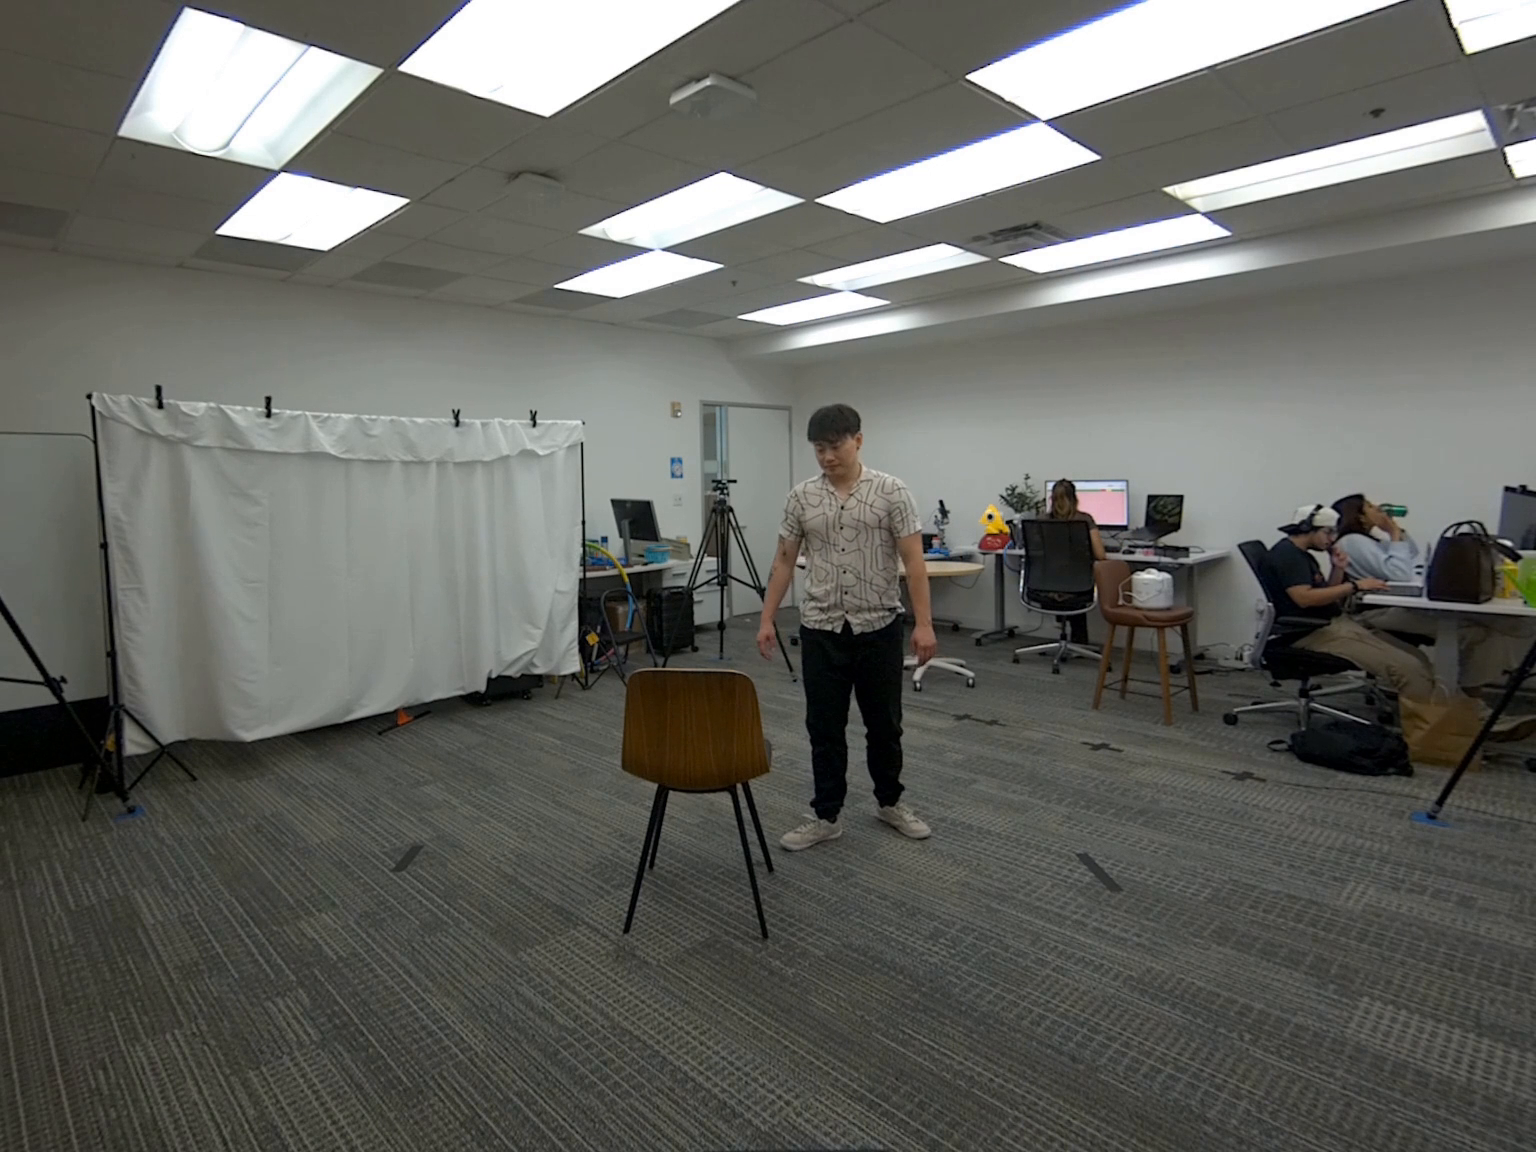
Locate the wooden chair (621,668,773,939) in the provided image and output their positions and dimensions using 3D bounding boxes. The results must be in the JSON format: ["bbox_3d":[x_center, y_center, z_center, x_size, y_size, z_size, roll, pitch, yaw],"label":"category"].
[{"bbox_3d":[-0.225,0.653,2.821,0.480,0.870,0.525,-1,9,4],"label":"wooden chair"}]
